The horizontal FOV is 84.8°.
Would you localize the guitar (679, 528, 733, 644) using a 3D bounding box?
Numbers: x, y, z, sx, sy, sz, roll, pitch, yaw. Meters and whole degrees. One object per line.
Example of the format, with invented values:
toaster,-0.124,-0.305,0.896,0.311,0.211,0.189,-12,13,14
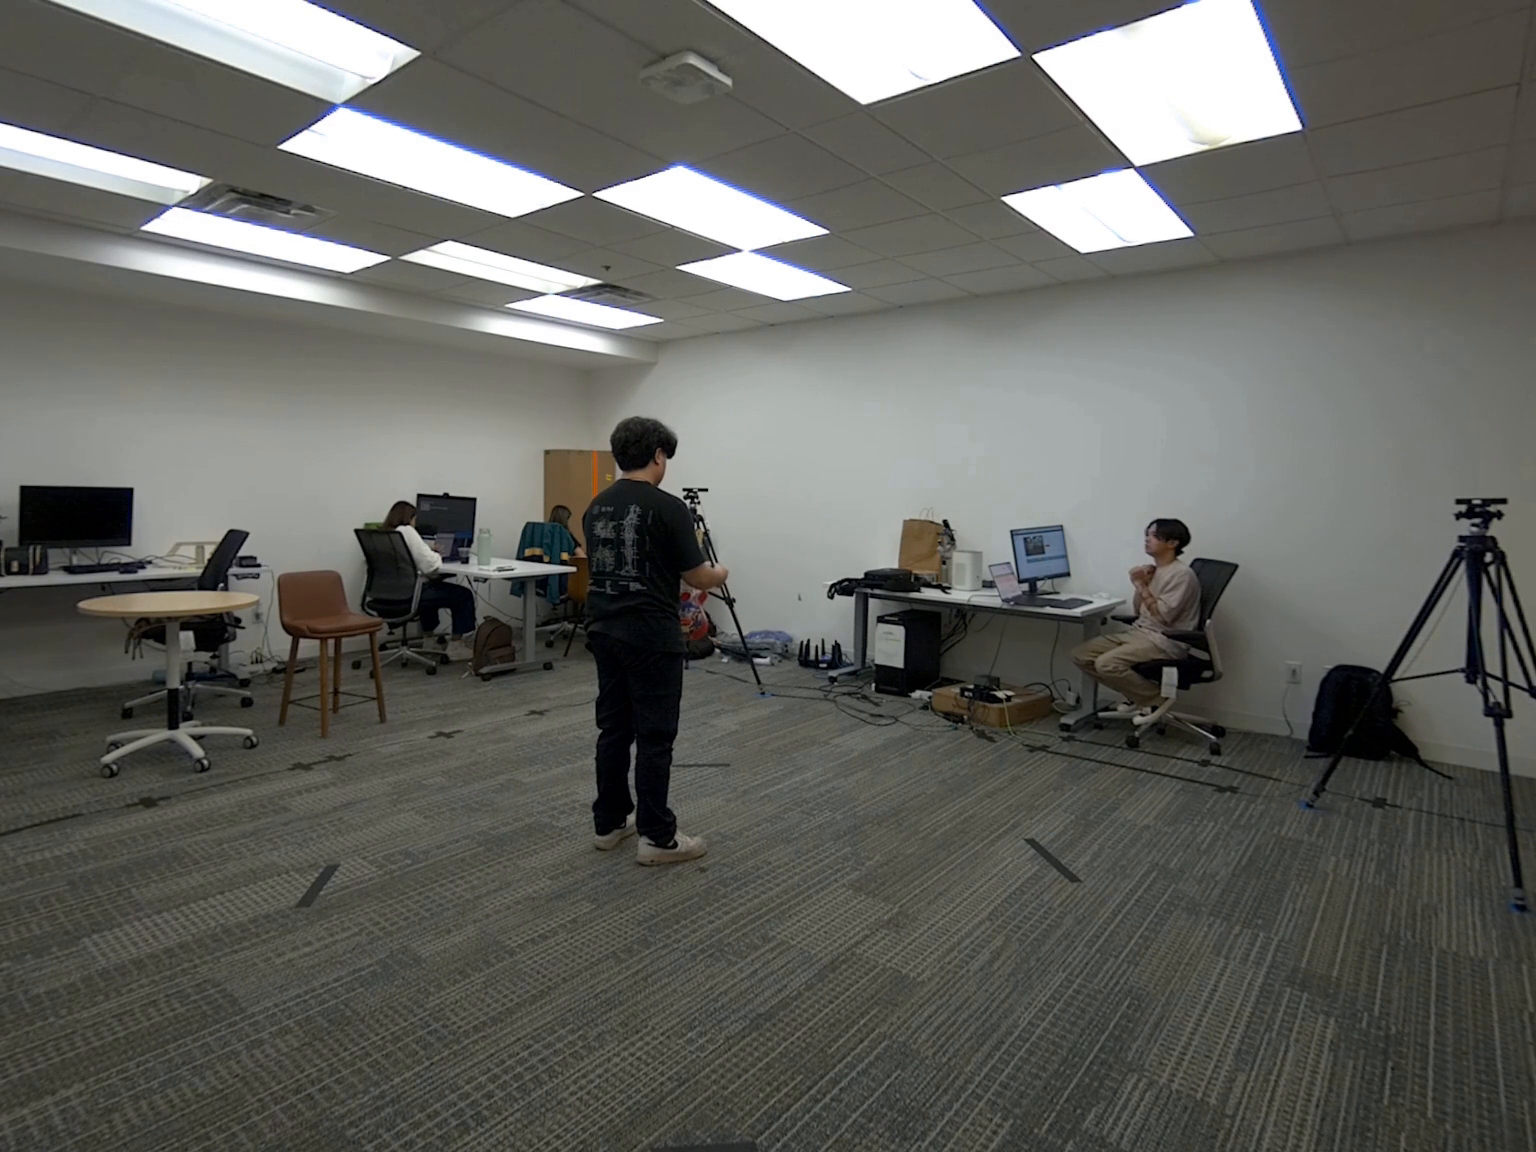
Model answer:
guitar,-0.312,0.029,3.562,0.198,0.505,0.068,3,-28,23
